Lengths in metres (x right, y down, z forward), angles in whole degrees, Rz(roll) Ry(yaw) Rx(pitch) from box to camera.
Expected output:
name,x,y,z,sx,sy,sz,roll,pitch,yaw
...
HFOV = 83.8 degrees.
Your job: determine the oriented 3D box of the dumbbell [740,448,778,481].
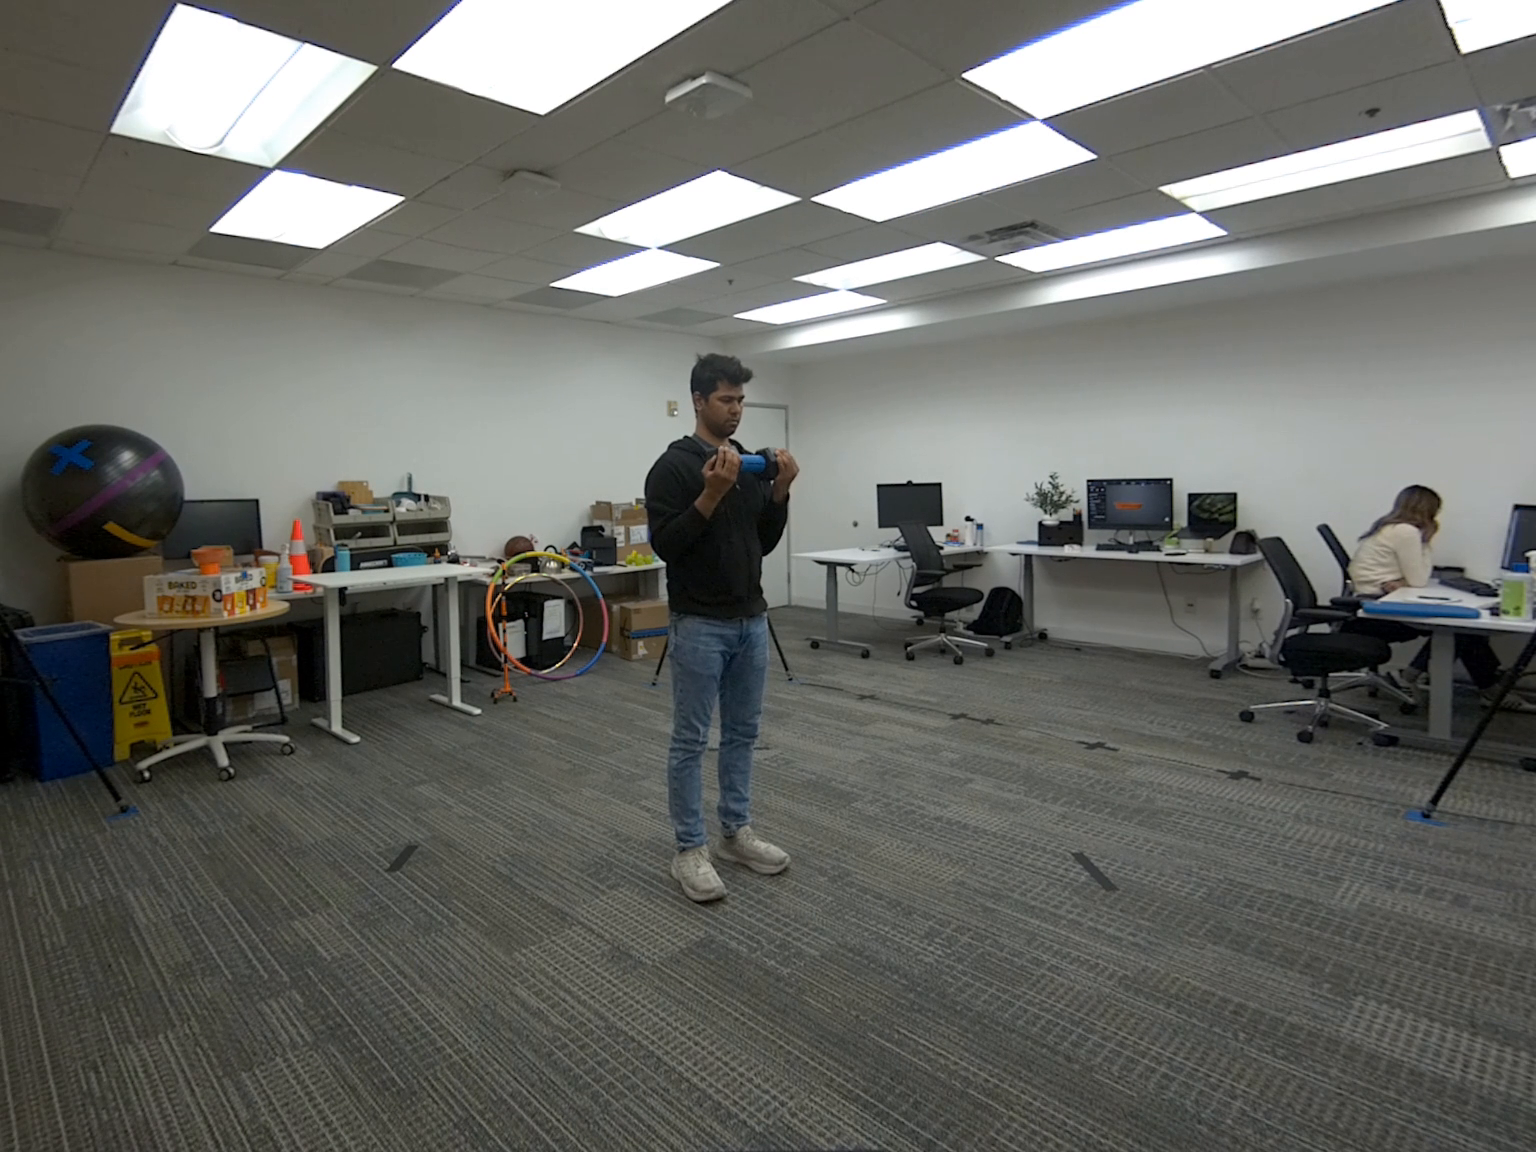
name,x,y,z,sx,sy,sz,roll,pitch,yaw
dumbbell,-0.087,-0.365,2.867,0.286,0.109,0.126,-4,-4,-41
